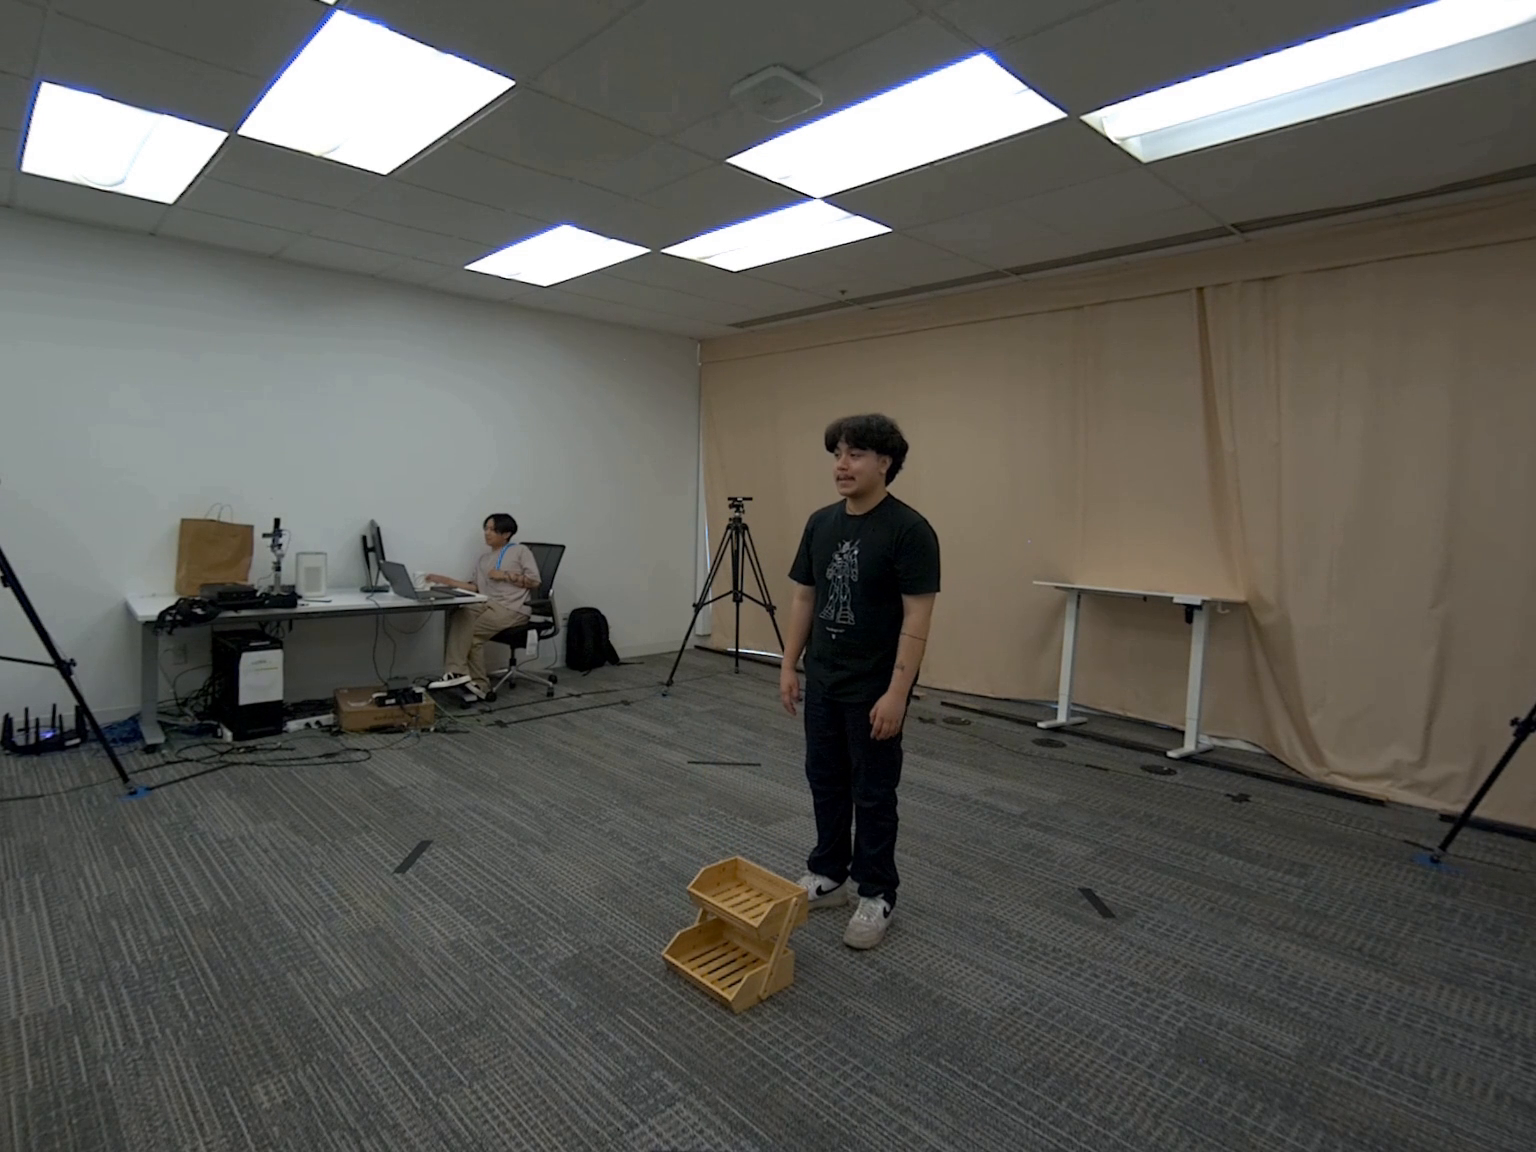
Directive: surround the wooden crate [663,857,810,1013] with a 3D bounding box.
[{"bbox_3d":[-0.109,1.034,2.458,0.295,0.273,0.333,-1,5,-45],"label":"wooden crate"}]
